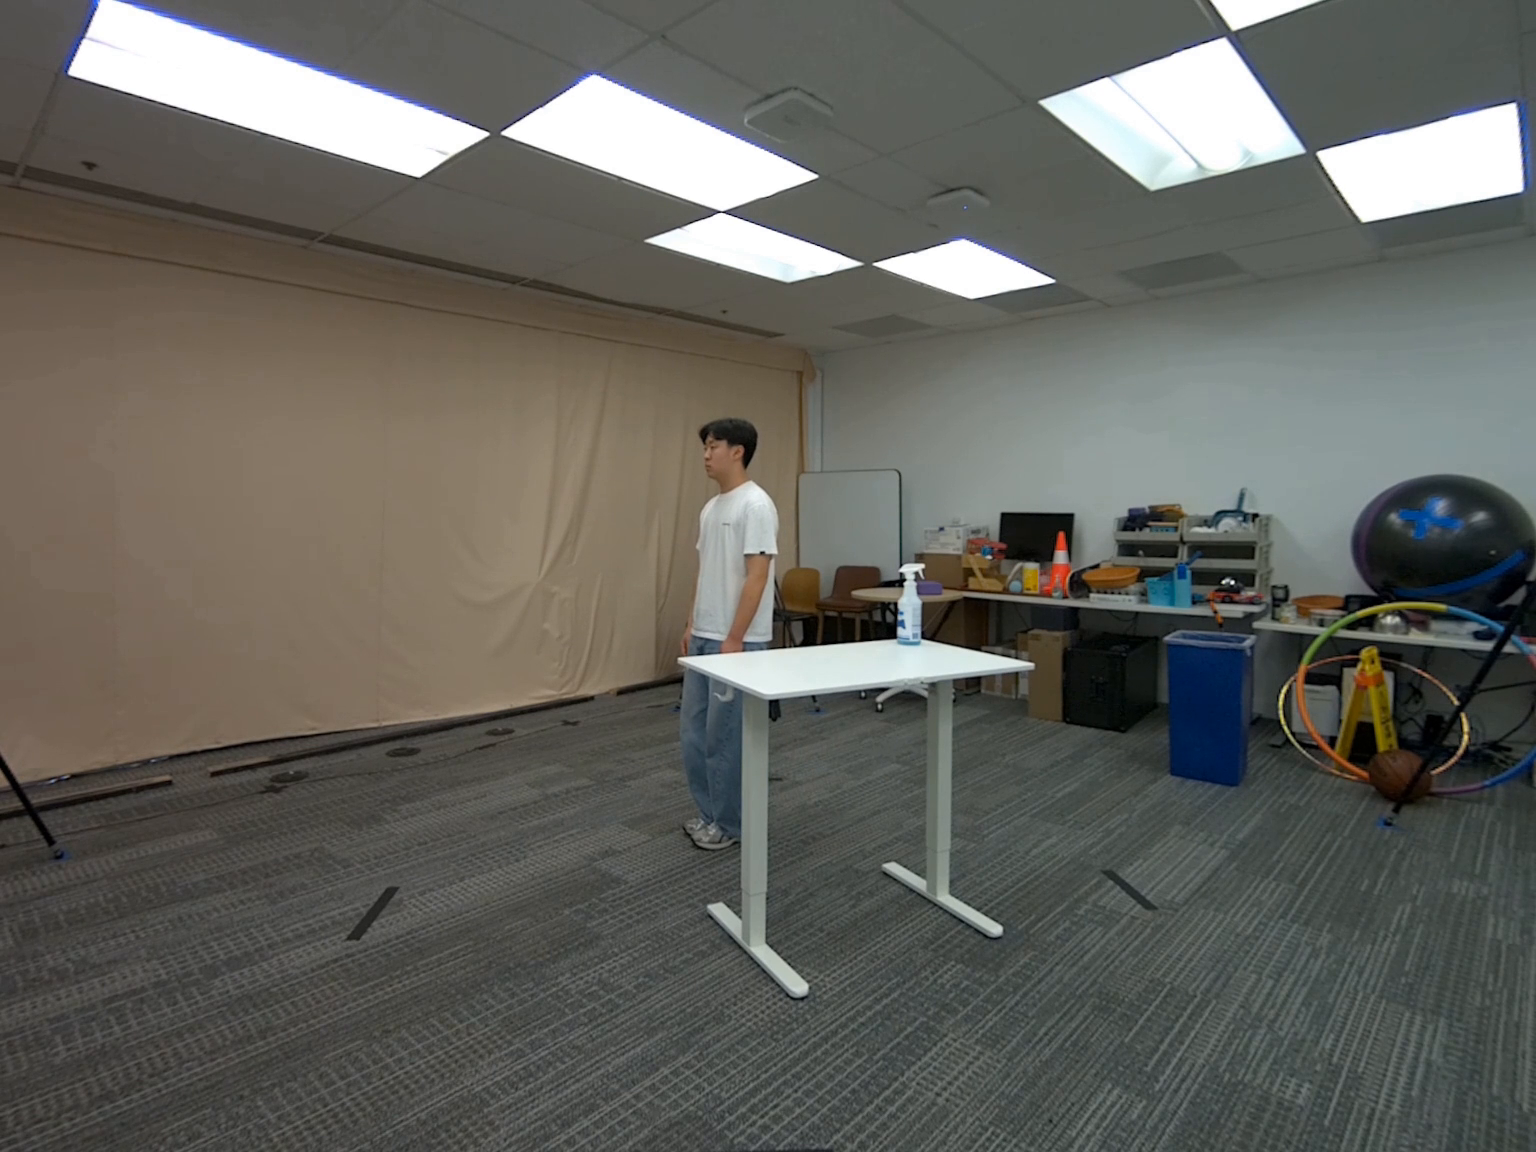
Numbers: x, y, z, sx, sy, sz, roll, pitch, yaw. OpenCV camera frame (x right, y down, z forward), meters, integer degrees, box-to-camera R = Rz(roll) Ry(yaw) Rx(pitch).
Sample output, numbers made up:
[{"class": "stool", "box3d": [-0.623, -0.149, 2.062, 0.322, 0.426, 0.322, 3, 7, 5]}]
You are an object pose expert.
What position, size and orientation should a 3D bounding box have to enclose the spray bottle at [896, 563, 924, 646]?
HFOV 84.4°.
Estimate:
[{"class": "spray bottle", "box3d": [0.530, 0.105, 3.097, 0.093, 0.297, 0.084, 4, 4, 39]}]
